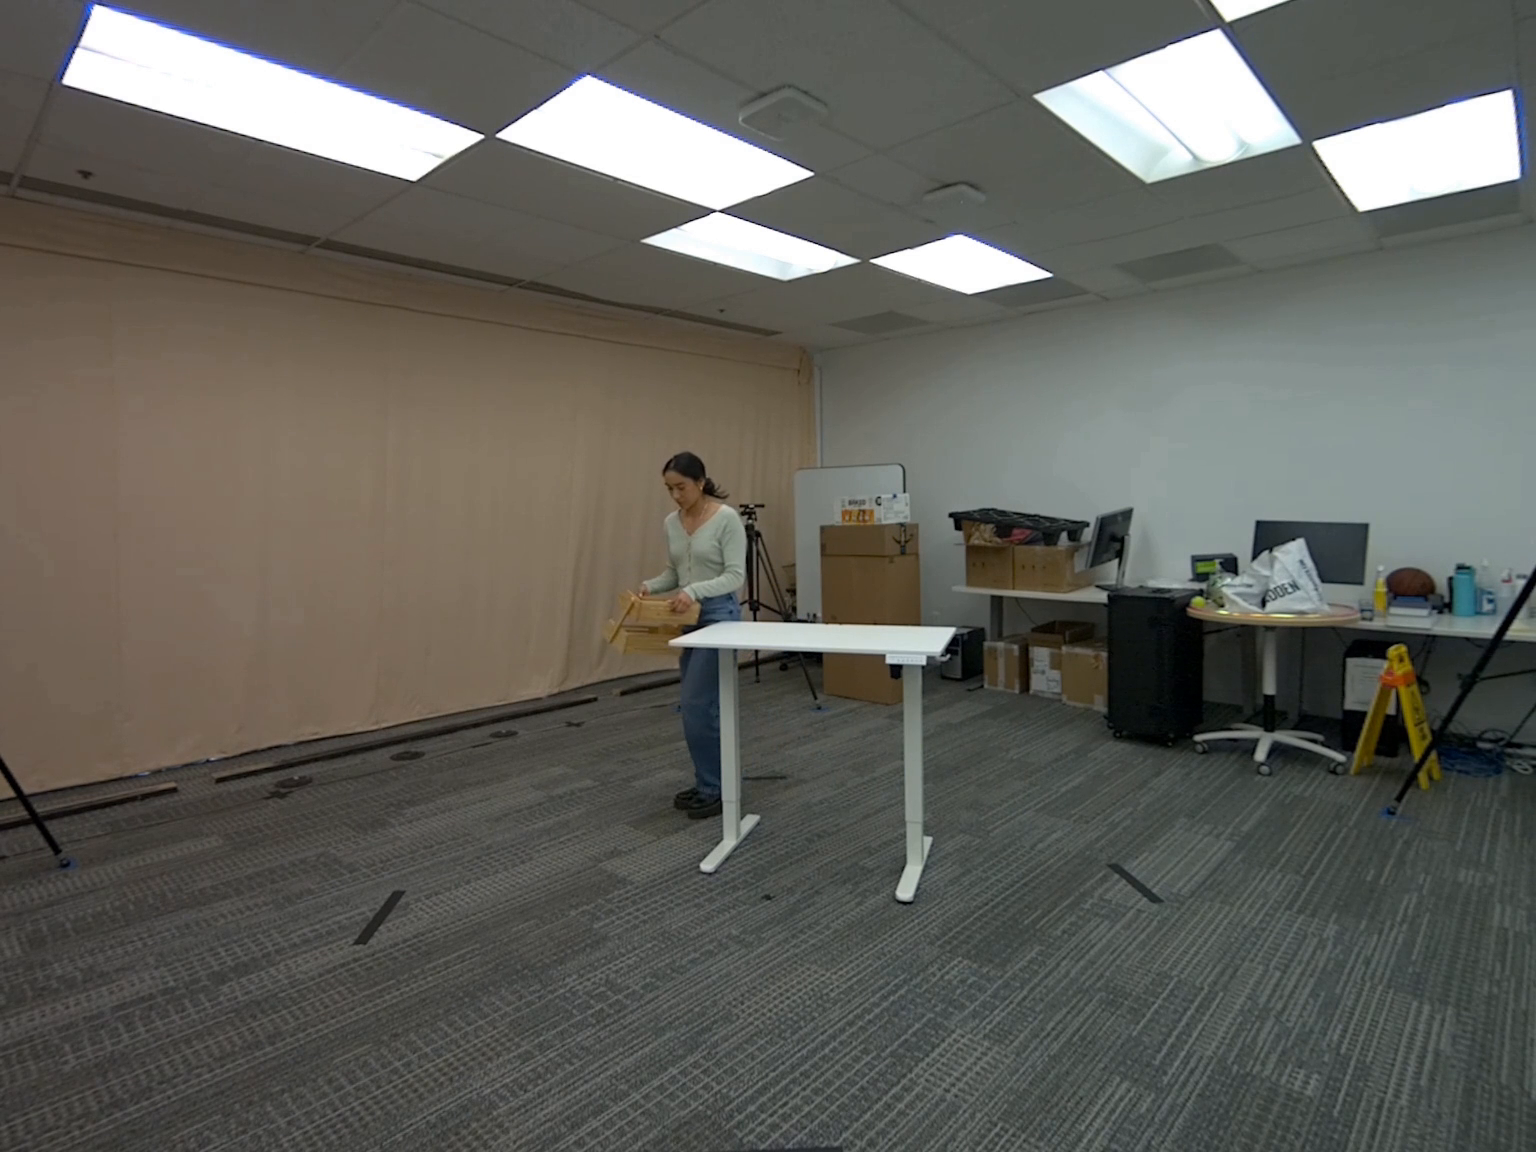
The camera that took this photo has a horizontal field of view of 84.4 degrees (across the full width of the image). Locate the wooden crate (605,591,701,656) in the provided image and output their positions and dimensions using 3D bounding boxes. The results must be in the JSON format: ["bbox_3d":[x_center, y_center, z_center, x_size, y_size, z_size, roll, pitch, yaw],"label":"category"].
[{"bbox_3d":[-0.526,0.184,3.723,0.314,0.272,0.313,6,14,-35],"label":"wooden crate"}]
